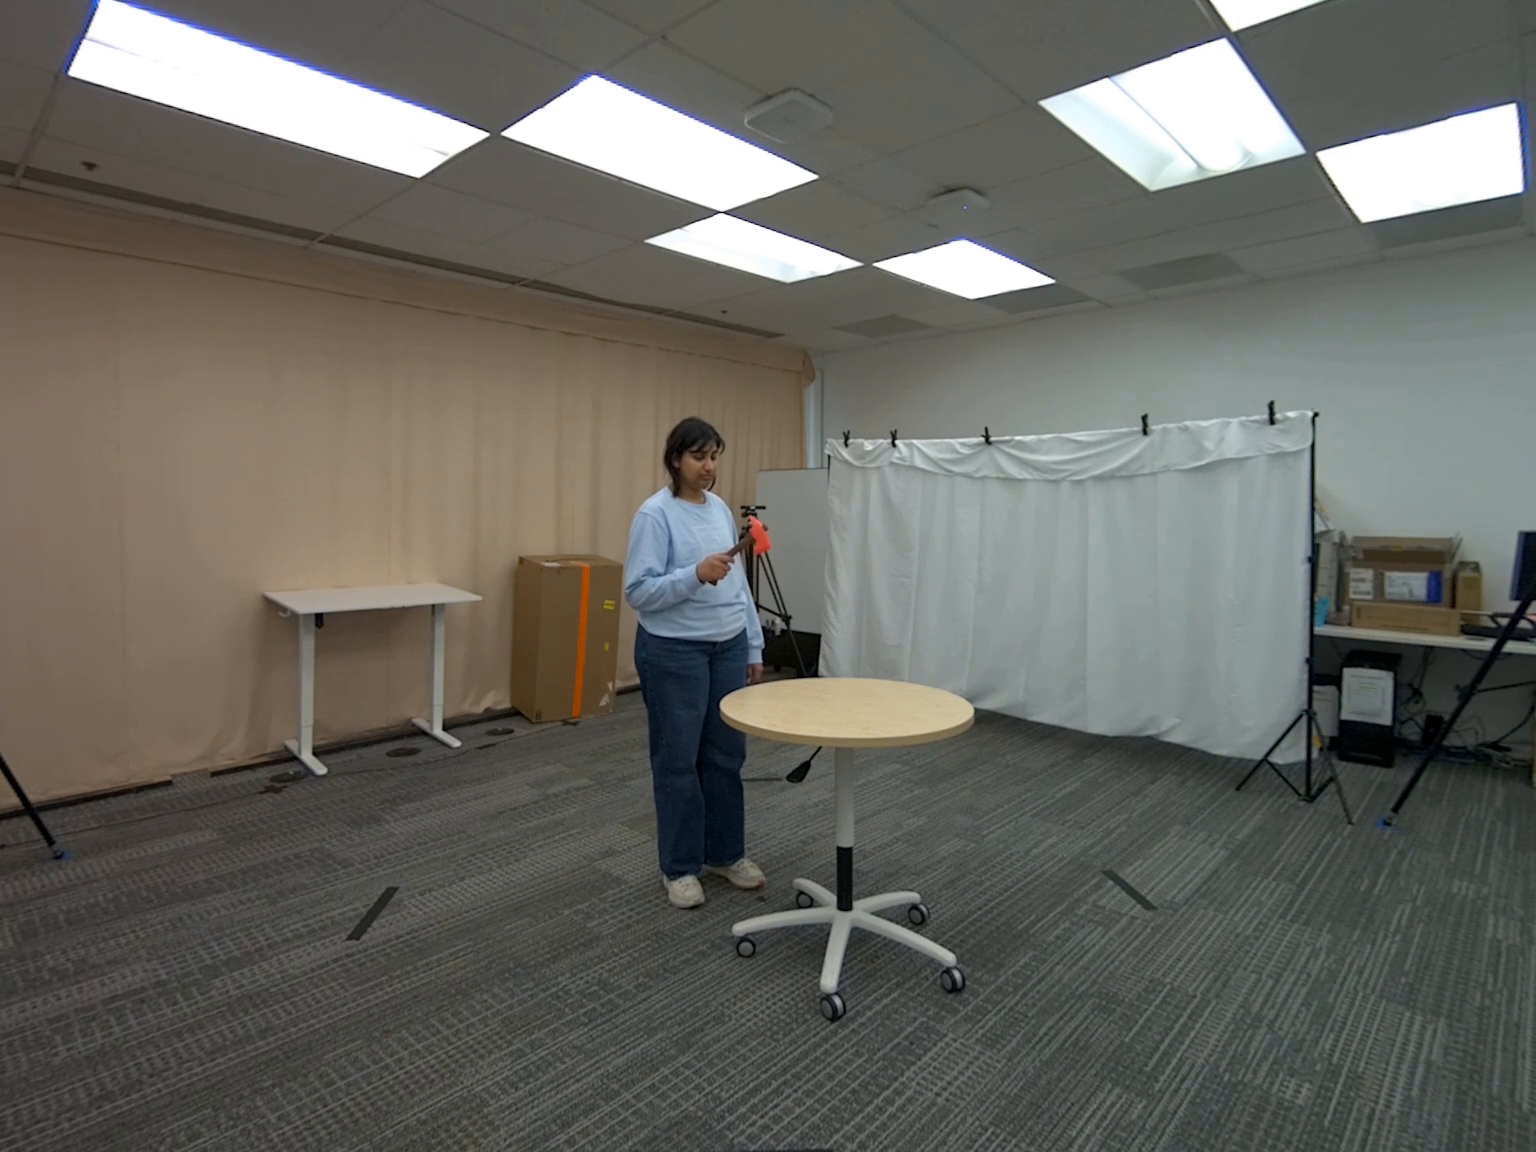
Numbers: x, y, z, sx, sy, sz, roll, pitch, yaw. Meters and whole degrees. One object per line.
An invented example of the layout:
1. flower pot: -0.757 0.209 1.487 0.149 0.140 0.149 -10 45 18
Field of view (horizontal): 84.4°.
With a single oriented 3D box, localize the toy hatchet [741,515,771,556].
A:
1. toy hatchet: -0.084 -0.060 2.737 0.135 0.270 0.028 42 15 28
